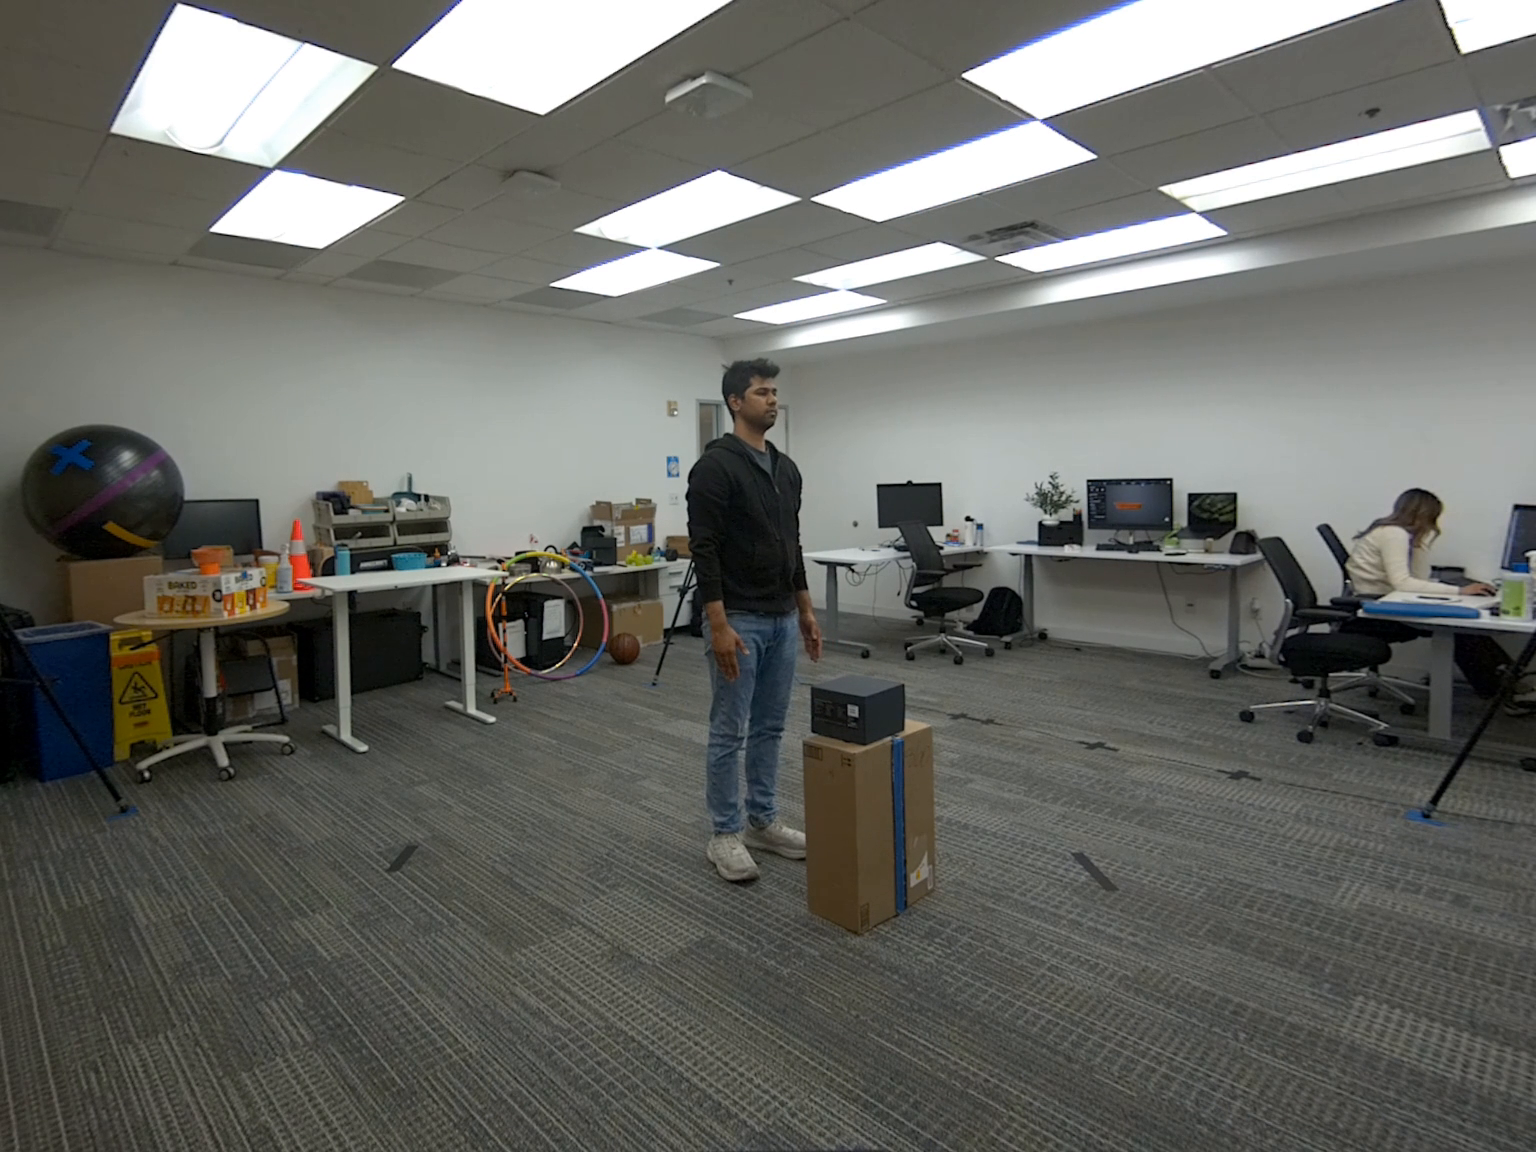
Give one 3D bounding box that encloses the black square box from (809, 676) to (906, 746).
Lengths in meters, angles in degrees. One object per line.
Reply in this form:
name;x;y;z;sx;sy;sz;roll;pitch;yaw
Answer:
black square box;0.295;0.427;2.787;0.223;0.155;0.222;4;7;43
